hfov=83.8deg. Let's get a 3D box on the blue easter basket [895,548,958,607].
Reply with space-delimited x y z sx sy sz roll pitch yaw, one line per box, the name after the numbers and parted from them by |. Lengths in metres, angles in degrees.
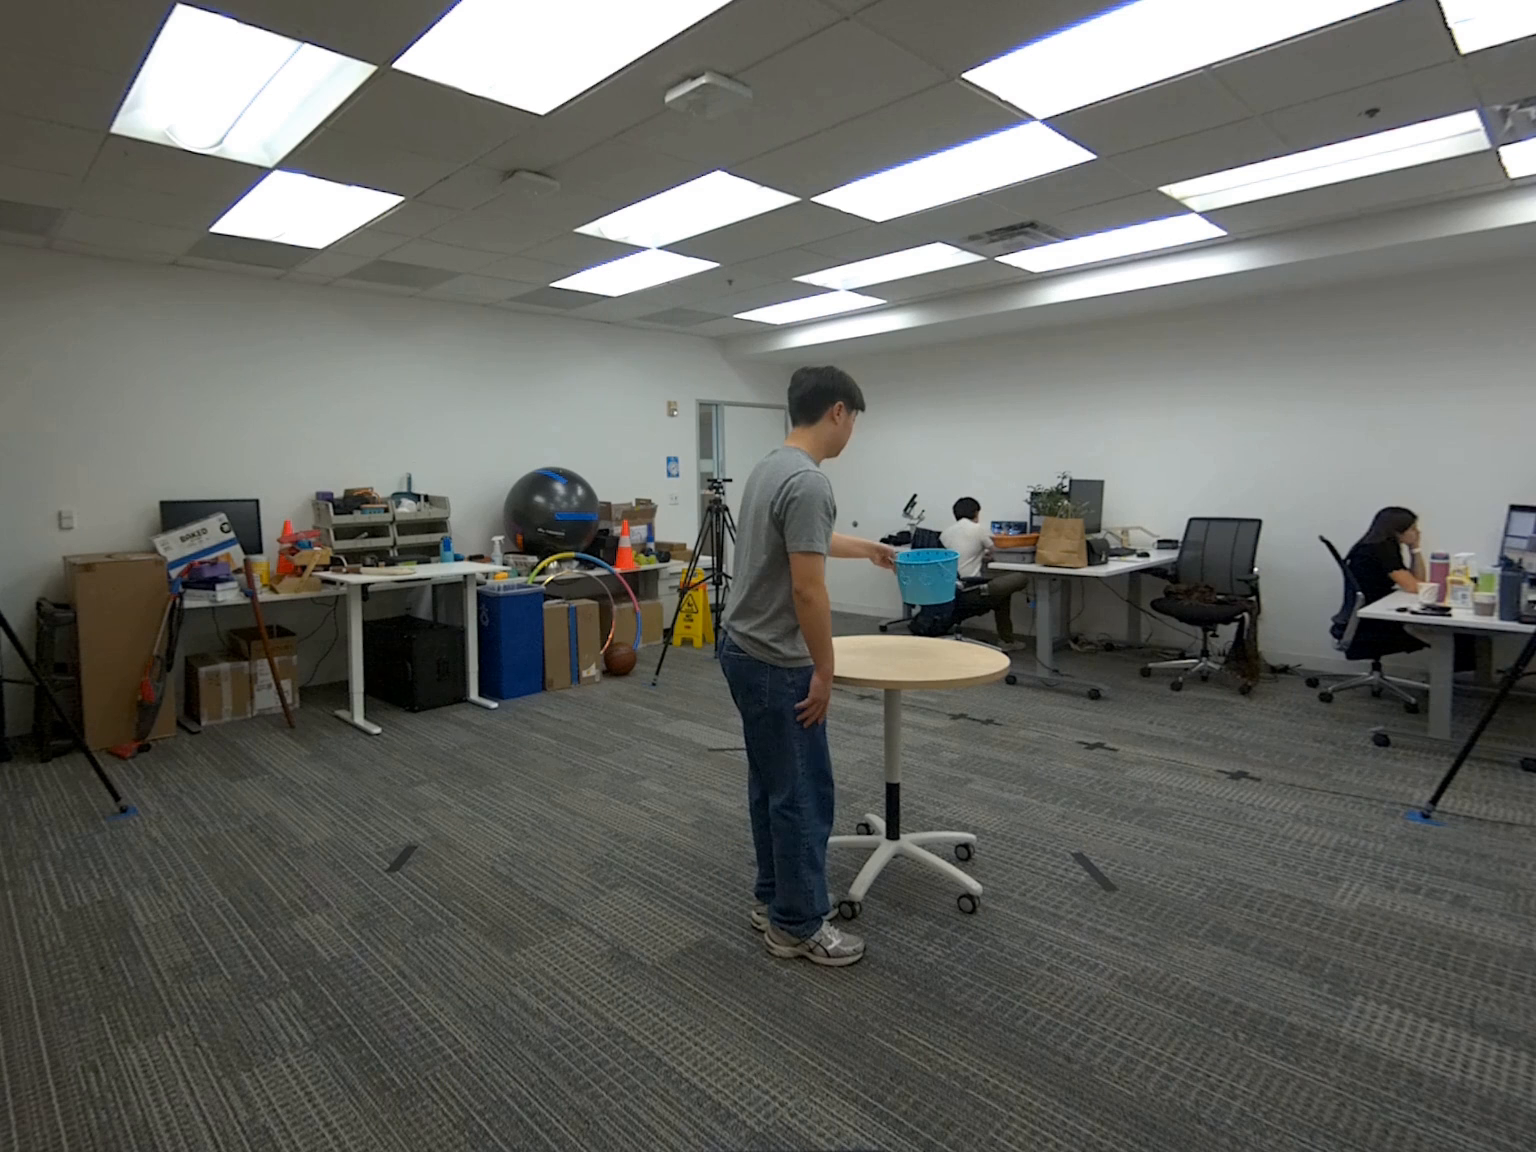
0.575 0.007 2.974 0.243 0.154 0.246 -6 11 -1 | blue easter basket
